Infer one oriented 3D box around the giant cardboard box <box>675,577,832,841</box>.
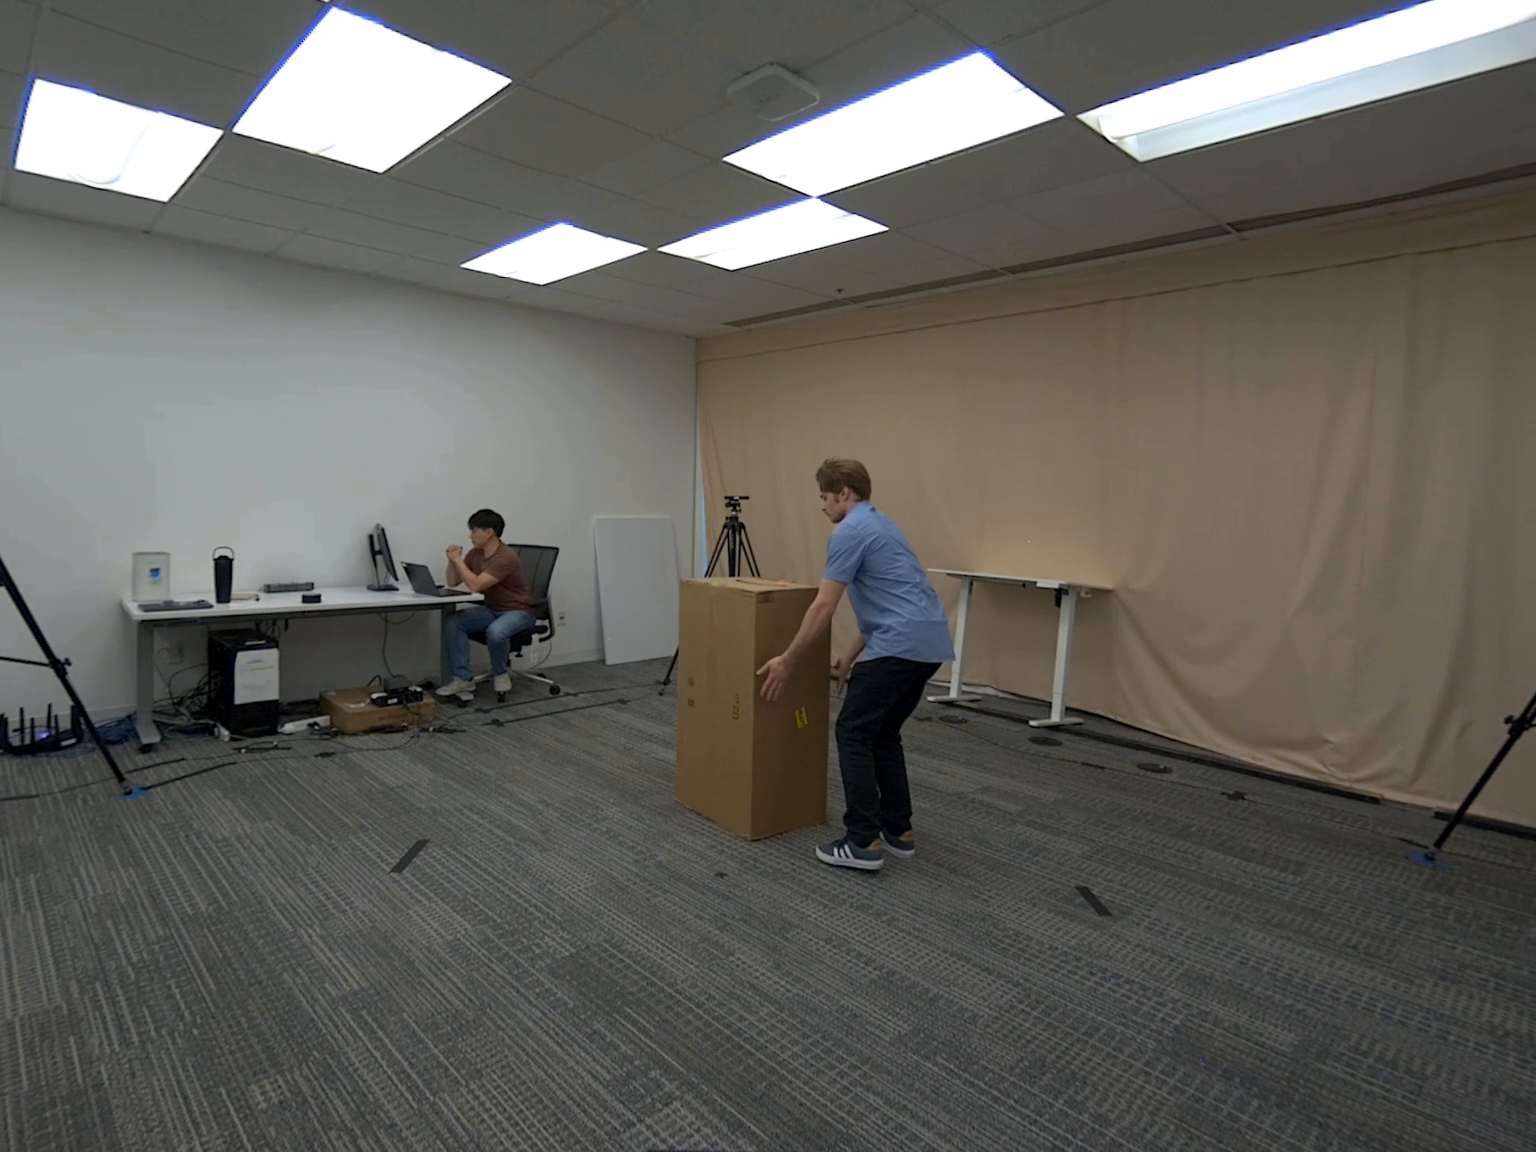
[{"bbox_3d":[-0.083,0.541,3.746,0.416,1.024,0.592,-1,3,-37],"label":"giant cardboard box"}]
